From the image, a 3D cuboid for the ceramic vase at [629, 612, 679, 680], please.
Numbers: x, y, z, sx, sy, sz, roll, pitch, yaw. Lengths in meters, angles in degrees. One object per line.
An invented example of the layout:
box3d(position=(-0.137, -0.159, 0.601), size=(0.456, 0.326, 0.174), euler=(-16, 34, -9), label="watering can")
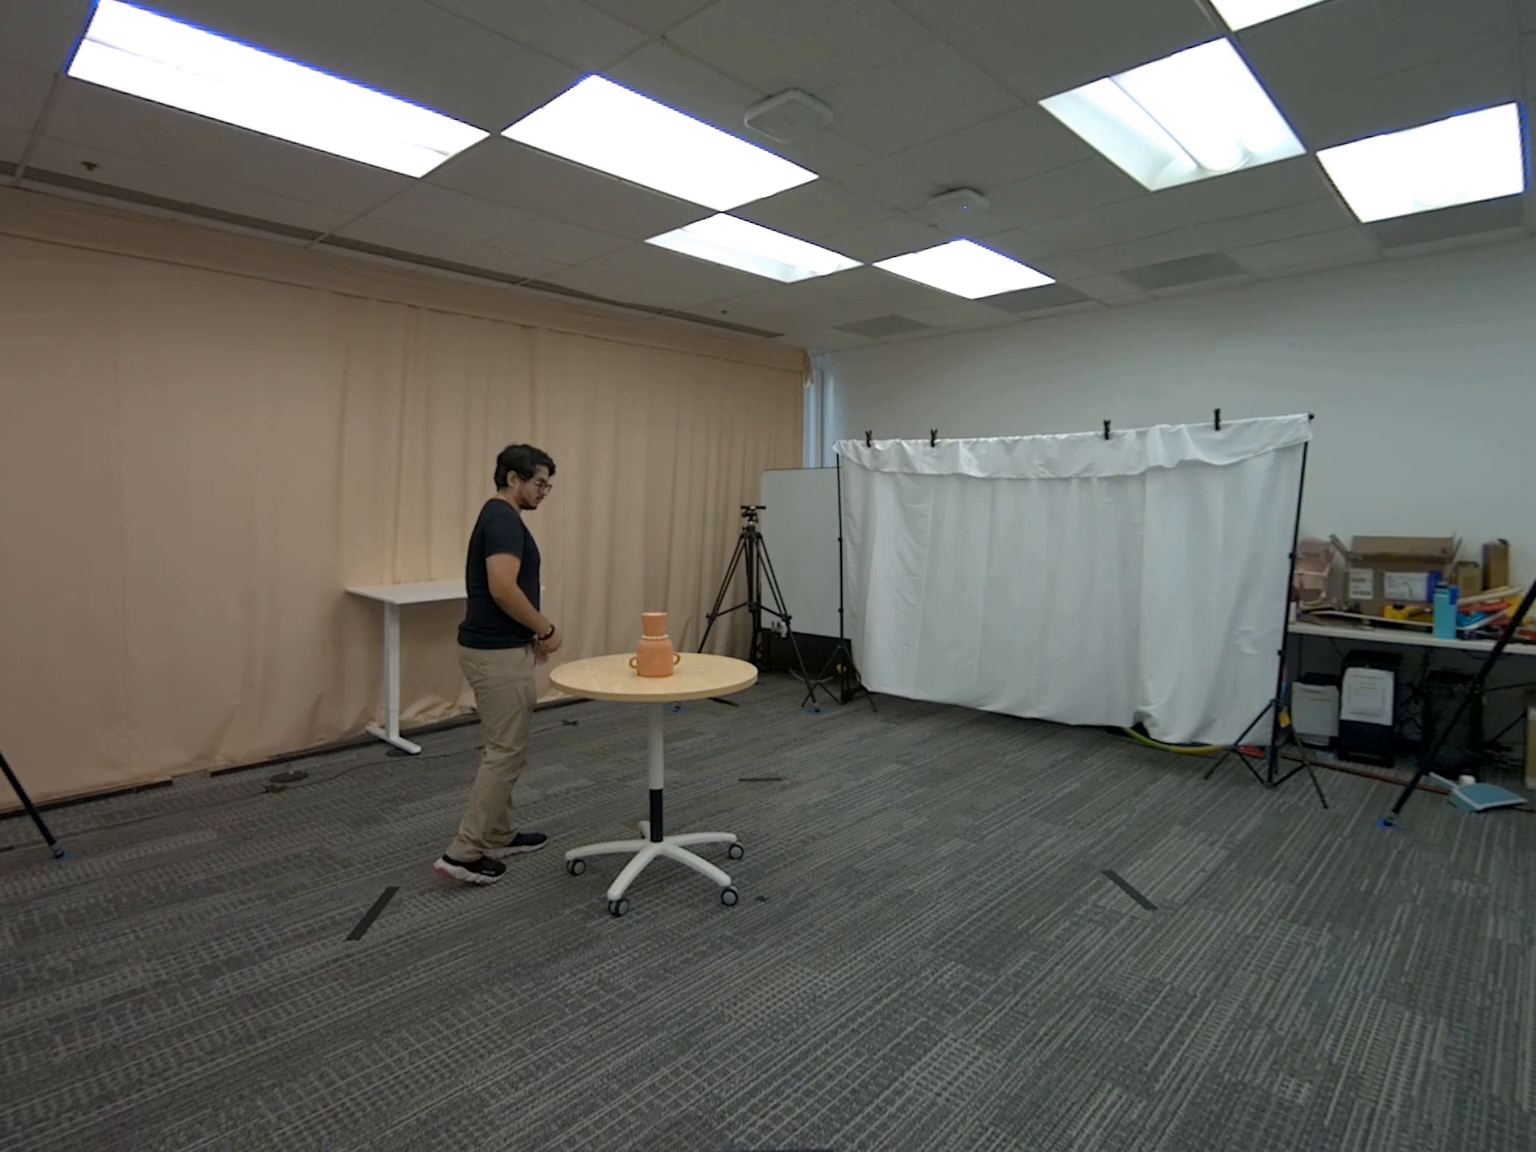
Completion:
box3d(position=(-0.419, 0.250, 3.060), size=(0.138, 0.219, 0.155), euler=(0, 3, 23), label="ceramic vase")
